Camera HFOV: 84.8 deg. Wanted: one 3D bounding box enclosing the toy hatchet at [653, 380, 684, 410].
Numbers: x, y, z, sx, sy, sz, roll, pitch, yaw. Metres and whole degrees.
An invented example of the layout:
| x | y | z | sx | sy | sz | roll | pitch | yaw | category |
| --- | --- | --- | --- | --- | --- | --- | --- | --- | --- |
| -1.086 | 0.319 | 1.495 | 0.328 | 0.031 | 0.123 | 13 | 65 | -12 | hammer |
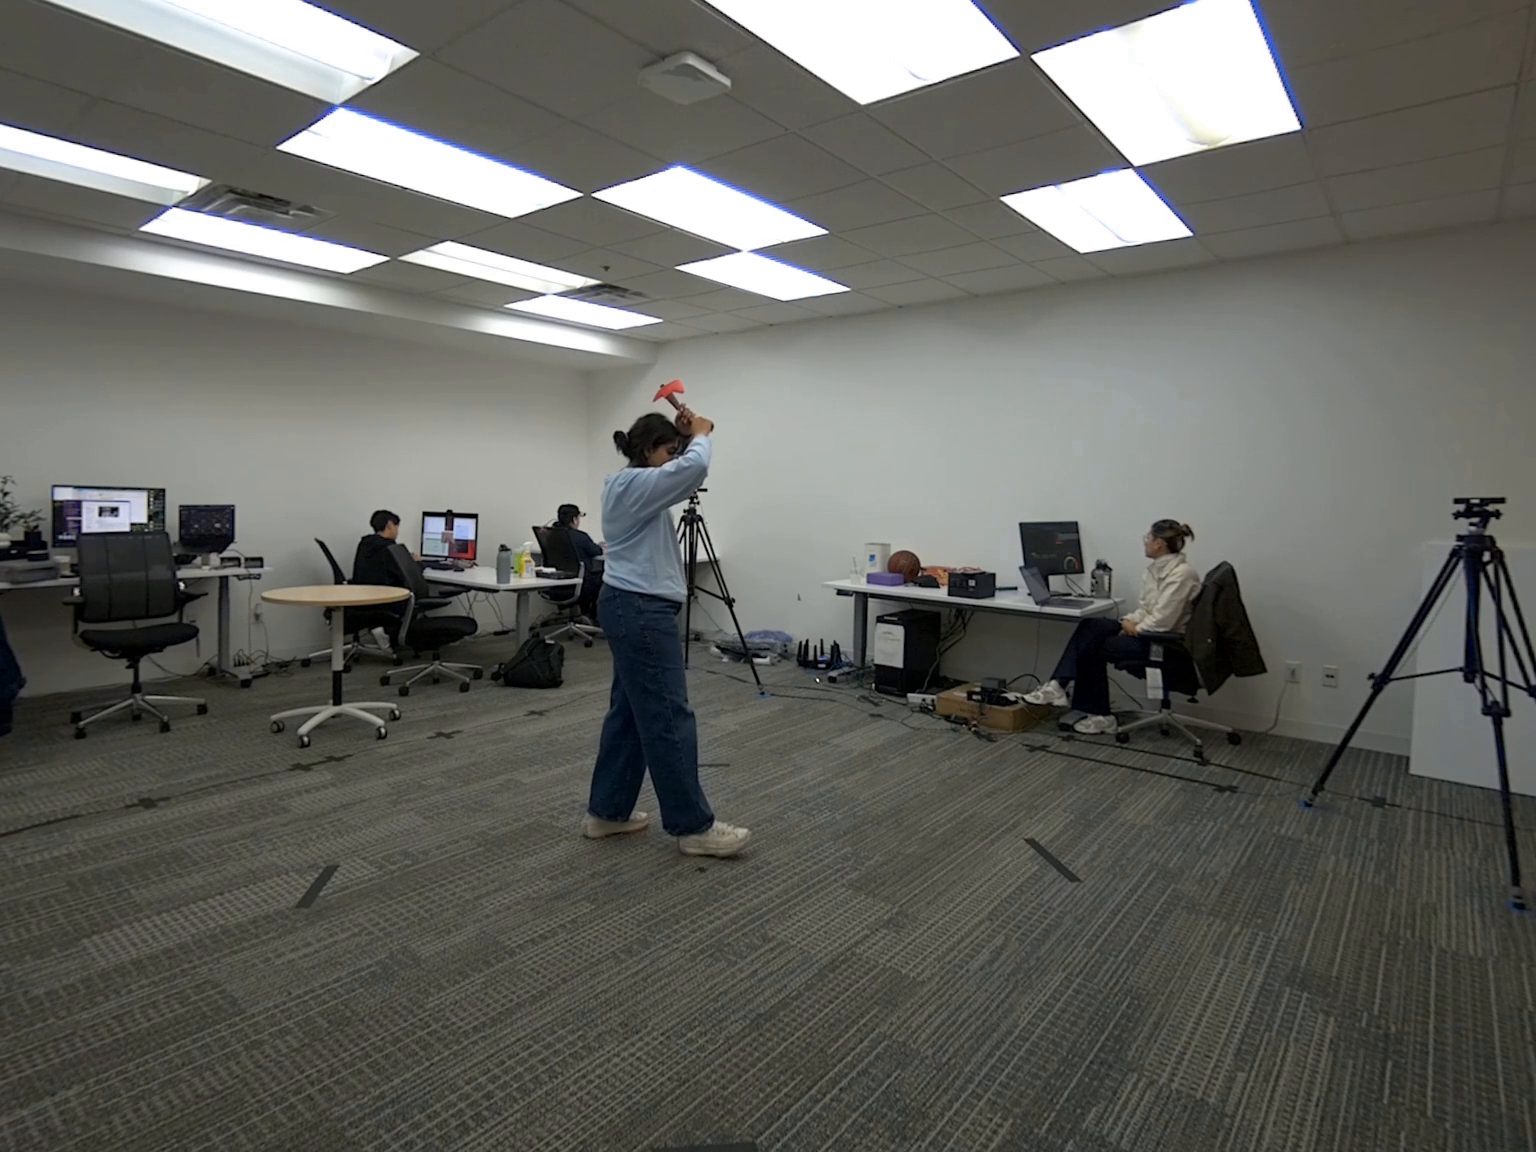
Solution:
| x | y | z | sx | sy | sz | roll | pitch | yaw | category |
| --- | --- | --- | --- | --- | --- | --- | --- | --- | --- |
| -0.326 | -0.689 | 3.379 | 0.273 | 0.131 | 0.029 | 32 | -6 | 7 | toy hatchet |
